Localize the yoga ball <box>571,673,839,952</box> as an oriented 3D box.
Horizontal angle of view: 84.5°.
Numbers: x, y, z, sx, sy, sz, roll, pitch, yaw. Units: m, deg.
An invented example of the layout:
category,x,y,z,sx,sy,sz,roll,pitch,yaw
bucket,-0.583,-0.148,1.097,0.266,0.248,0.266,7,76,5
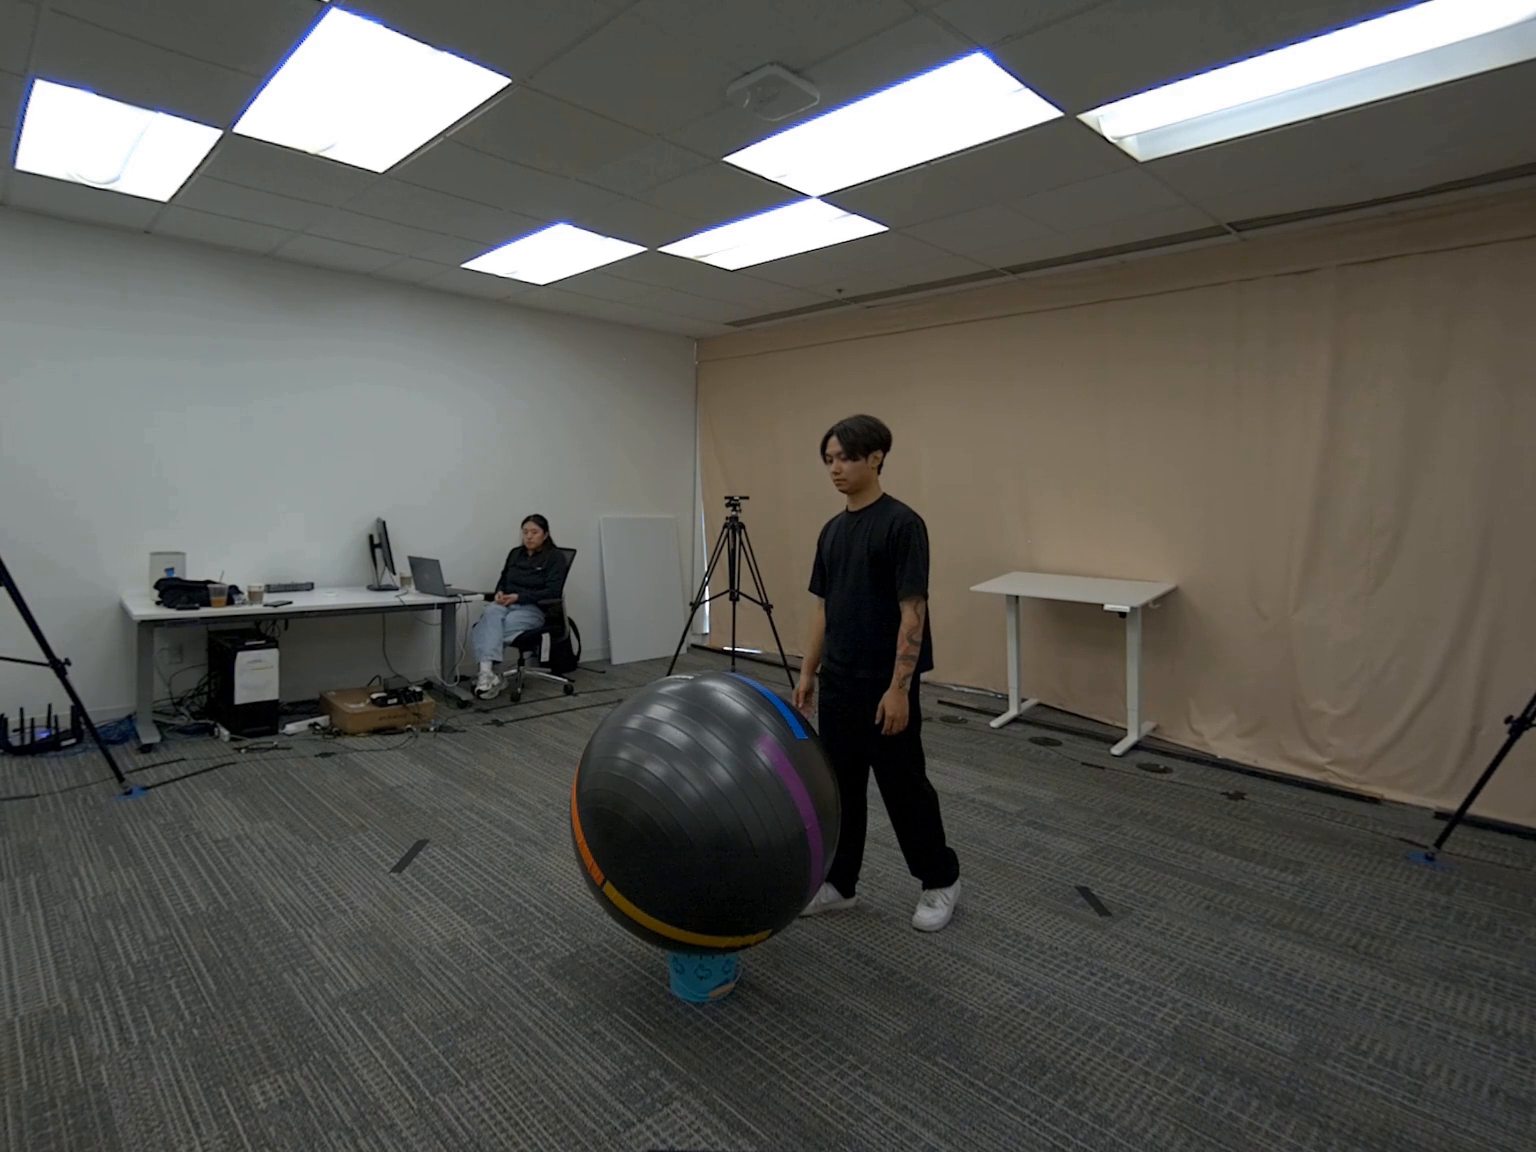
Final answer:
category,x,y,z,sx,sy,sz,roll,pitch,yaw
yoga ball,-0.188,0.658,2.384,0.757,0.756,0.761,1,4,-1
